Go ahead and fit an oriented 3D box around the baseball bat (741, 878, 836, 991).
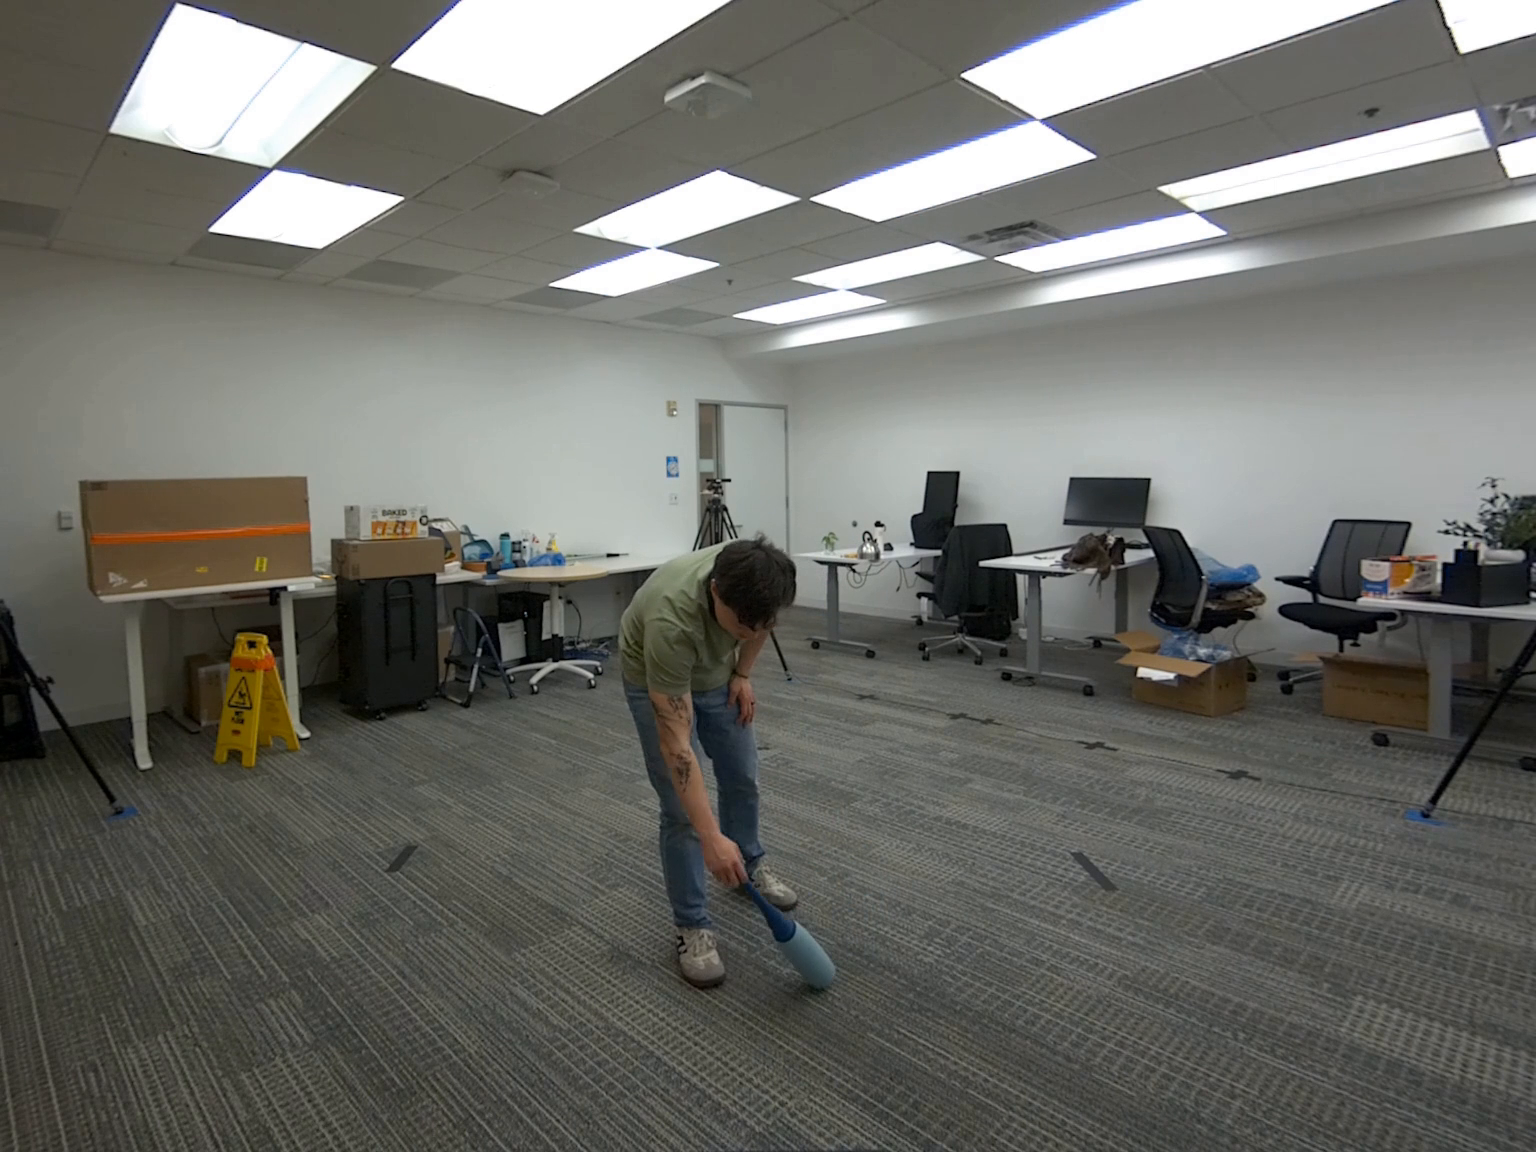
[{"bbox_3d":[0.038,0.912,2.239,0.090,0.526,0.091,-22,30,12],"label":"baseball bat"}]
